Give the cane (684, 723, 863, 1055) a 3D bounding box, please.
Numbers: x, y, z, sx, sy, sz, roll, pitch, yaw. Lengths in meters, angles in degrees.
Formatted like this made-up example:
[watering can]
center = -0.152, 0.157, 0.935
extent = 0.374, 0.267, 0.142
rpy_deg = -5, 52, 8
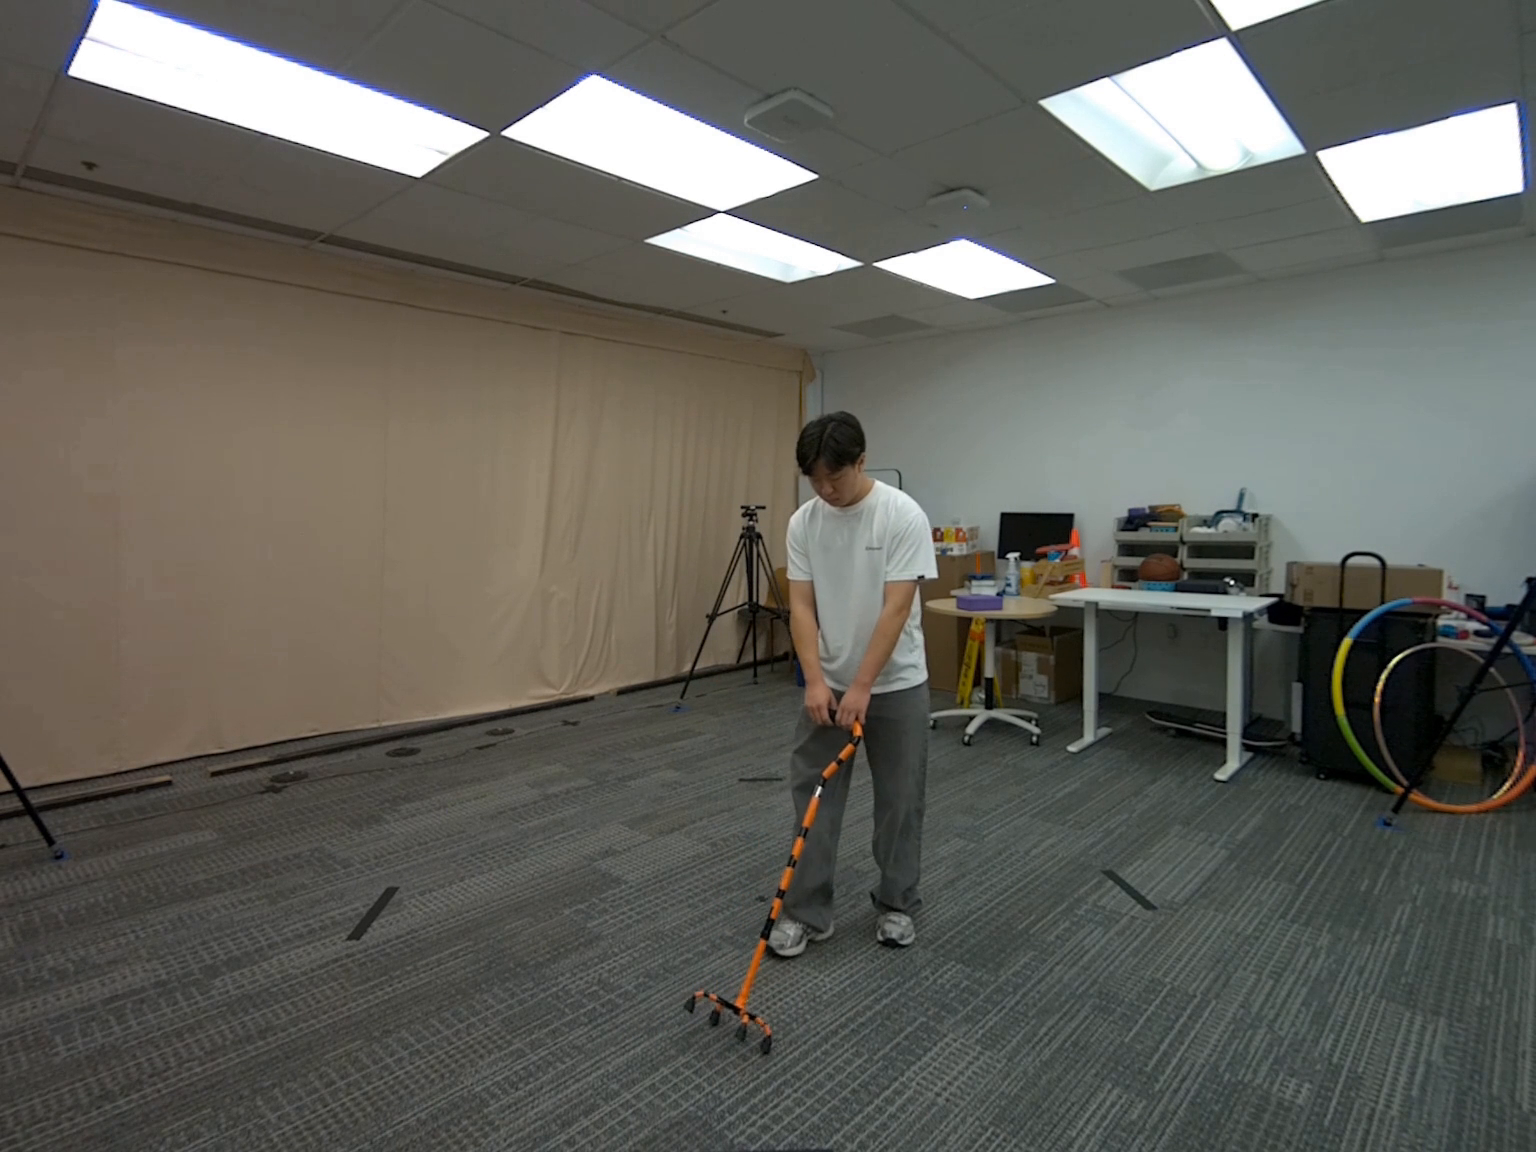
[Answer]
[cane]
center = 0.073, 0.799, 2.344
extent = 0.213, 0.910, 0.146
rpy_deg = 3, -32, 40
